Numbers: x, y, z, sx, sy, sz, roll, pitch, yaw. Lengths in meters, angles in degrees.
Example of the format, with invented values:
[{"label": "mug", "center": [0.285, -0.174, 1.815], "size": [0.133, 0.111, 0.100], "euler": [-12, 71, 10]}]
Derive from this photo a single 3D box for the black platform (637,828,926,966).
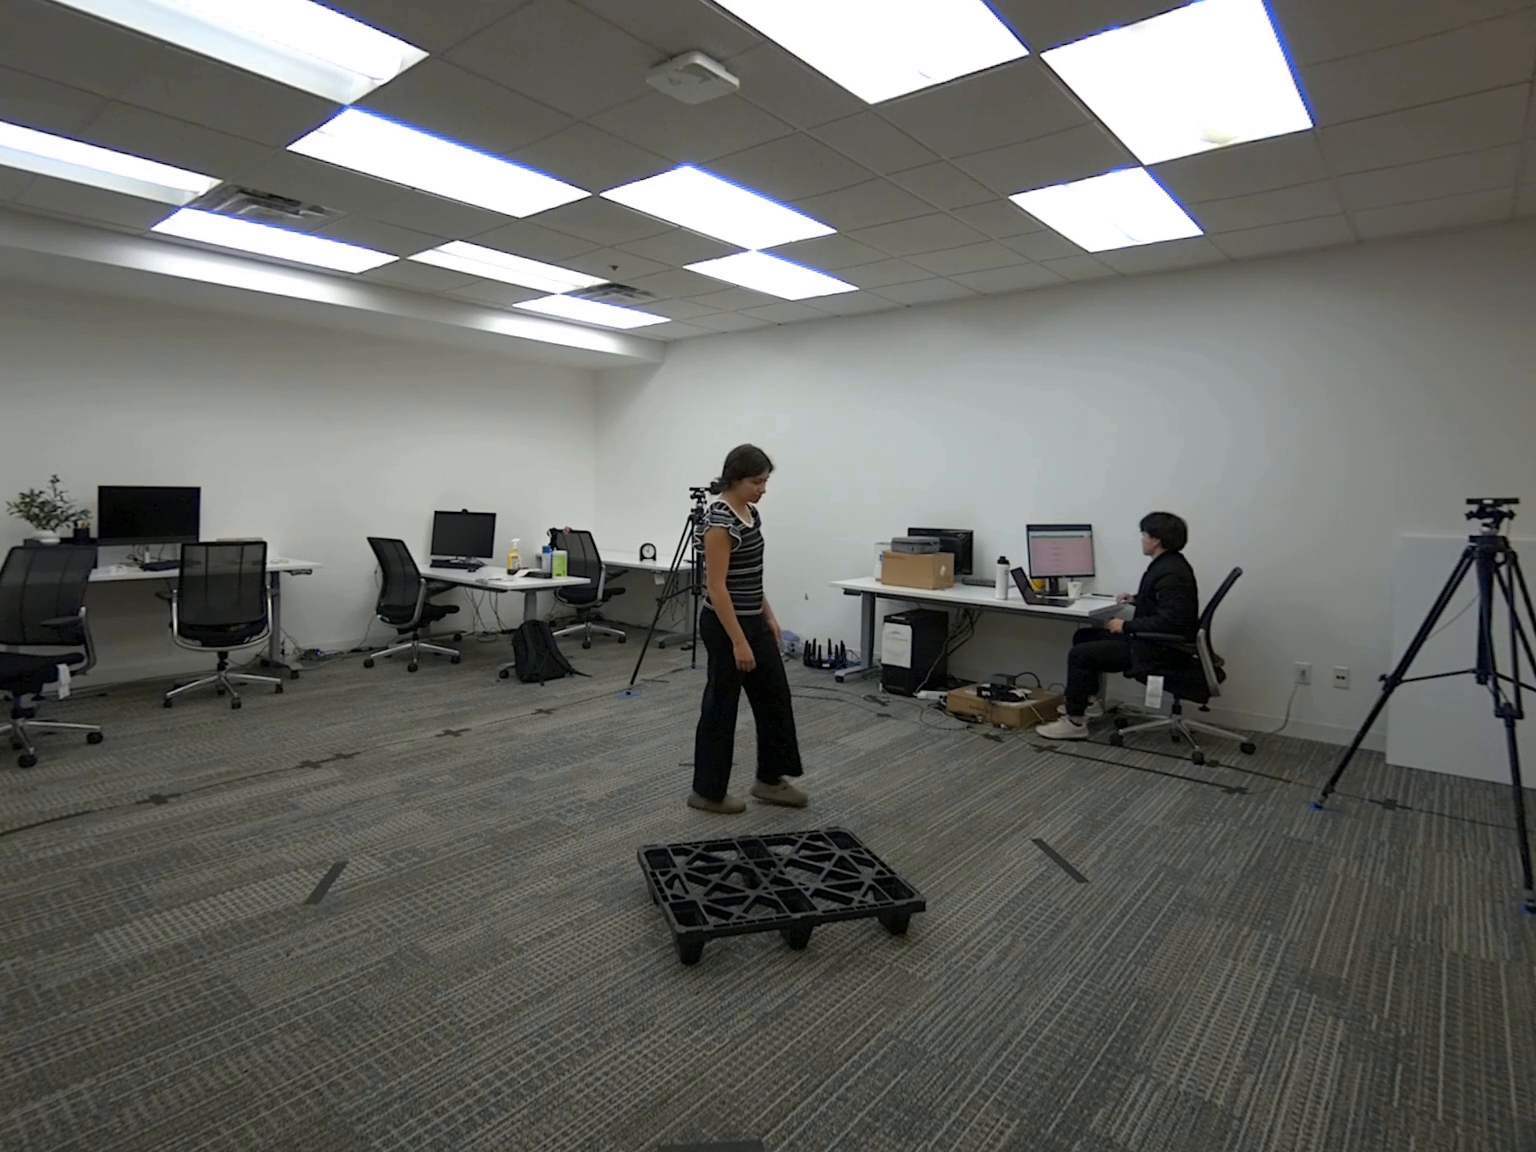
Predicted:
[{"label": "black platform", "center": [0.010, 1.031, 2.798], "size": [0.791, 0.142, 0.619], "euler": [-1, 7, -18]}]
